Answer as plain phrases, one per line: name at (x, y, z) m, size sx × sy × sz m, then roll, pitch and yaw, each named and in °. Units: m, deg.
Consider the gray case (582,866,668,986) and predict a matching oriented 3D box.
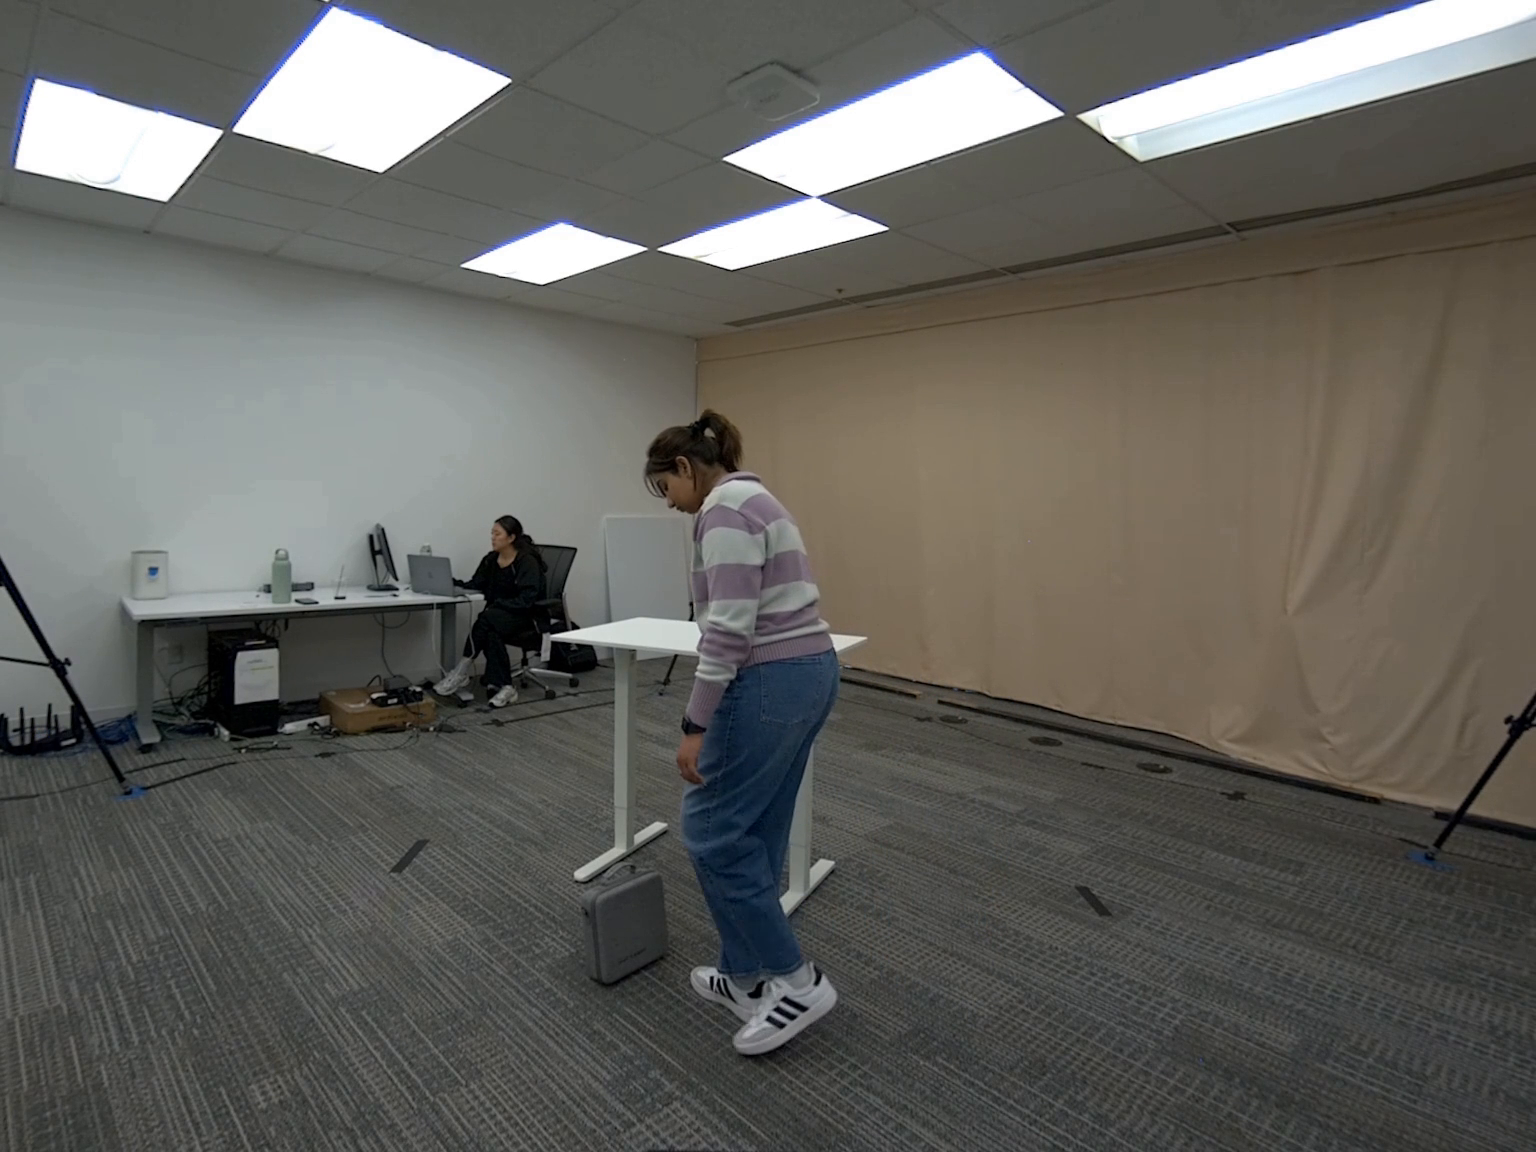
gray case at (-0.430, 1.024, 2.477) m, size 0.106 × 0.261 × 0.251 m, roll -8°, pitch -3°, yaw 42°
